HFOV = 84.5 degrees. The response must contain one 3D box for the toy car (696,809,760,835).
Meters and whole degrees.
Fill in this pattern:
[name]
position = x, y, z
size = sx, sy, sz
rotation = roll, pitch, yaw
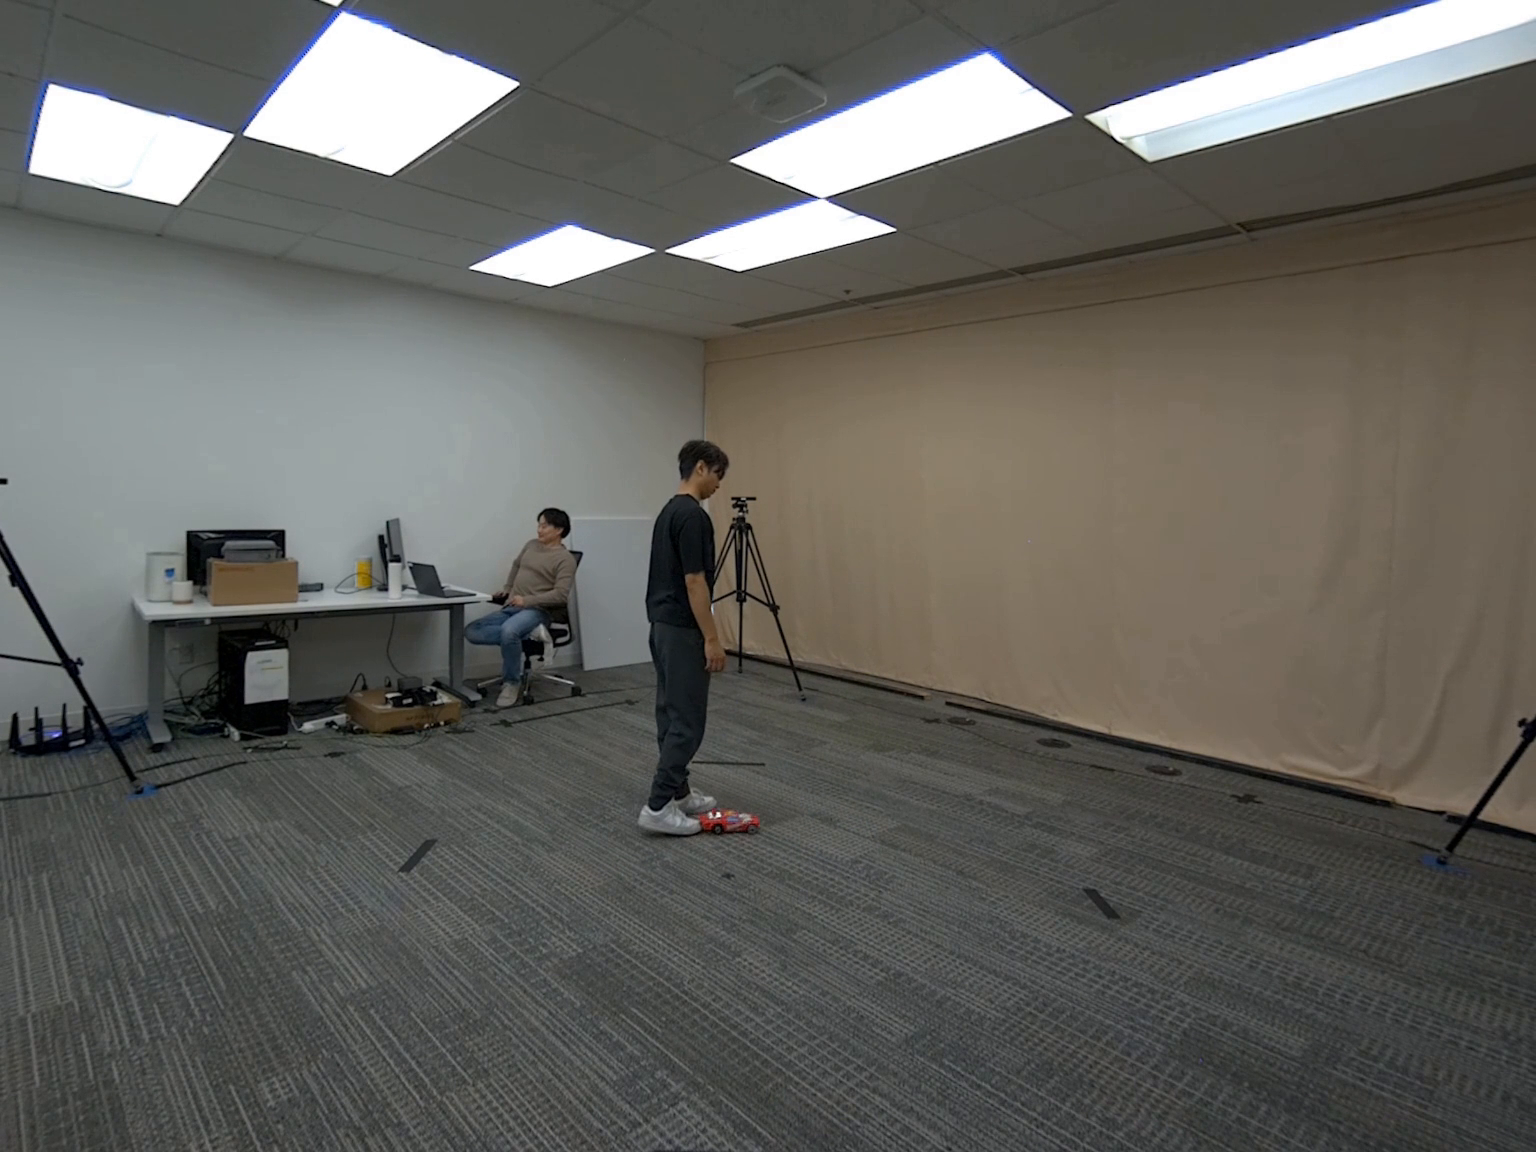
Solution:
[toy car]
position = -0.177, 1.035, 3.541
size = 0.252, 0.083, 0.131
rotation = 12, 2, -9
